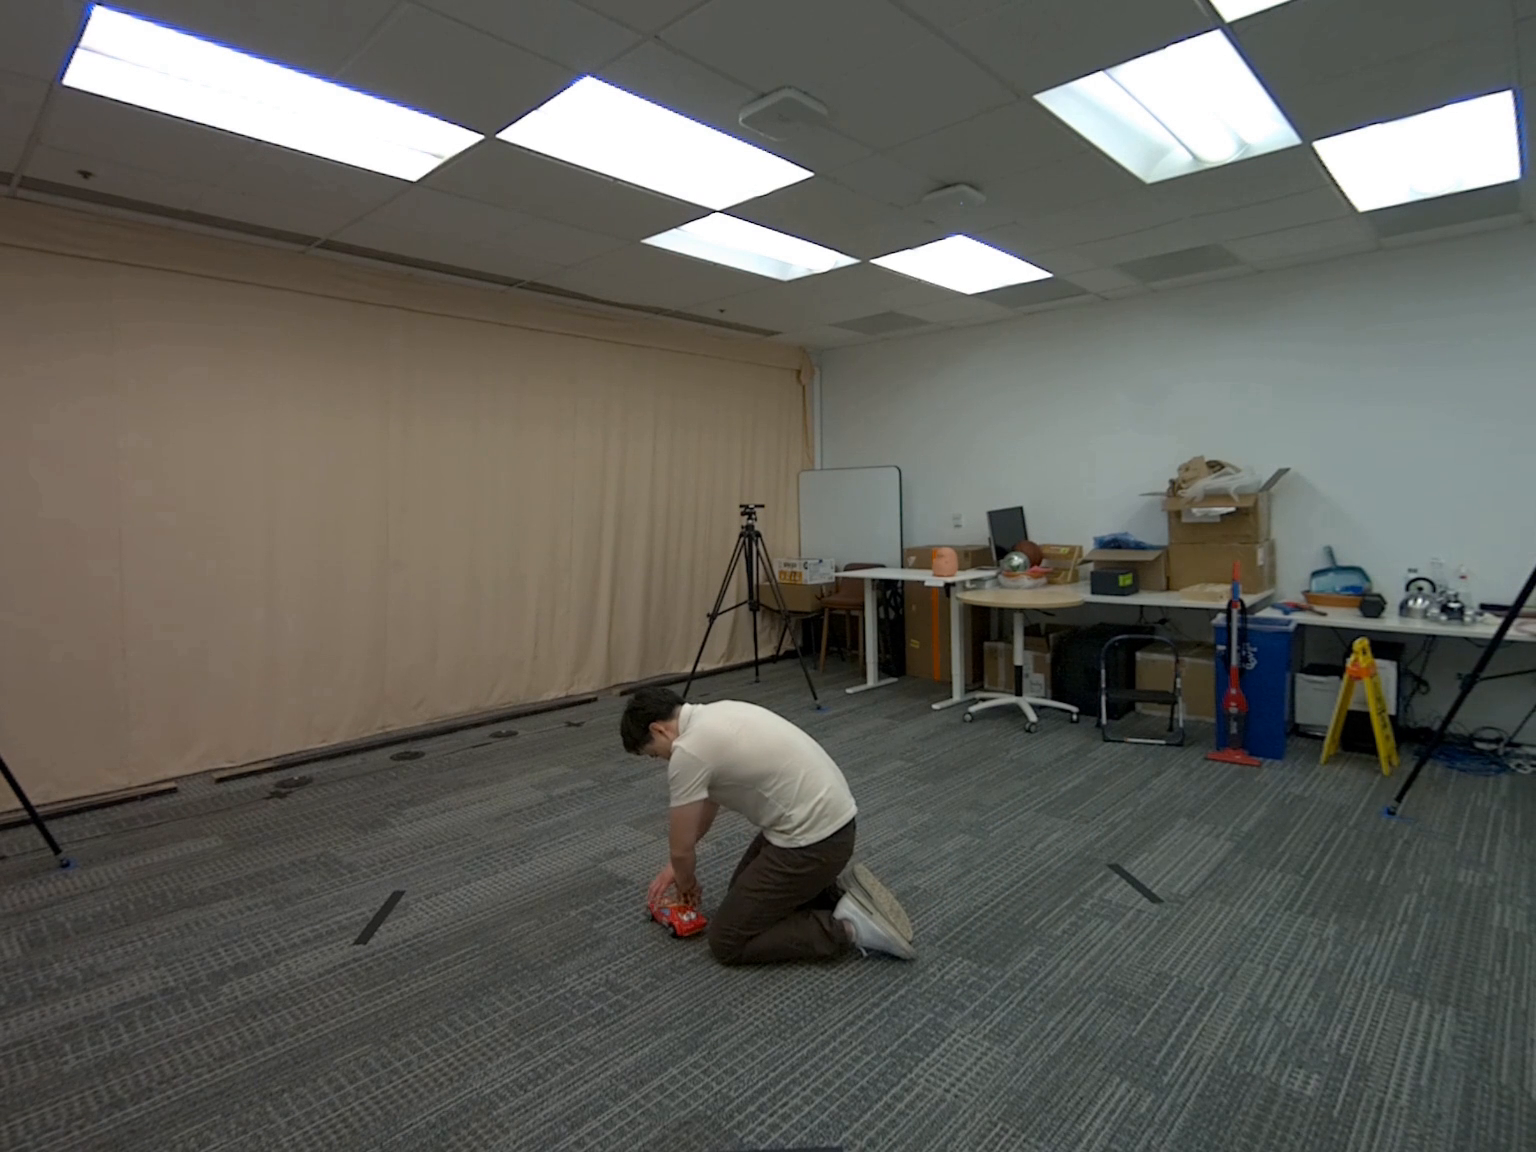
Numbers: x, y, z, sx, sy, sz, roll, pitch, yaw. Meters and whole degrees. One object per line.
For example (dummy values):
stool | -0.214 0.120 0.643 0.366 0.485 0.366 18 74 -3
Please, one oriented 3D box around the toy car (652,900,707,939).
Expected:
toy car | -0.301 1.139 2.787 0.126 0.083 0.261 -5 -5 -37
